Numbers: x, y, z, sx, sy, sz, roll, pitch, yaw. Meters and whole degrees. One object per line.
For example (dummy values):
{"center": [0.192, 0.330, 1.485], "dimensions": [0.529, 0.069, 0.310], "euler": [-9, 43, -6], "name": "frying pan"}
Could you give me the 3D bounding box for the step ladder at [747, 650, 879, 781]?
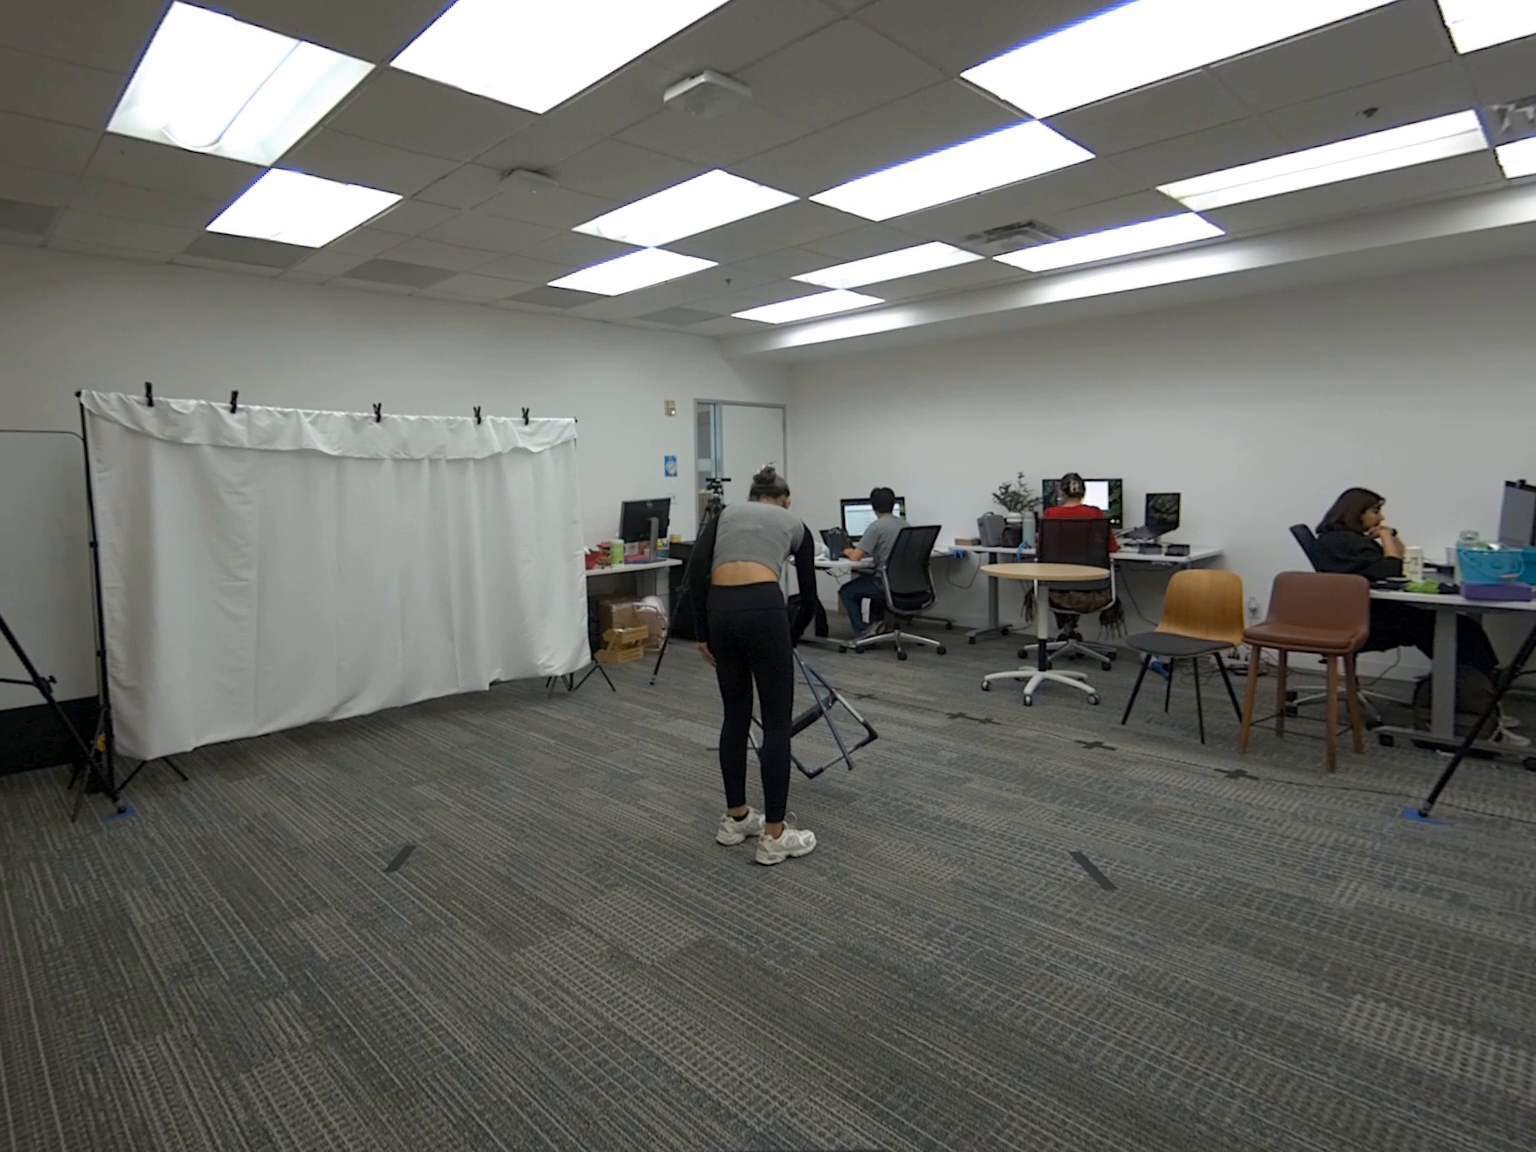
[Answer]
{"center": [0.093, 0.593, 3.653], "dimensions": [0.432, 0.614, 0.343], "euler": [-41, -10, 28], "name": "step ladder"}
